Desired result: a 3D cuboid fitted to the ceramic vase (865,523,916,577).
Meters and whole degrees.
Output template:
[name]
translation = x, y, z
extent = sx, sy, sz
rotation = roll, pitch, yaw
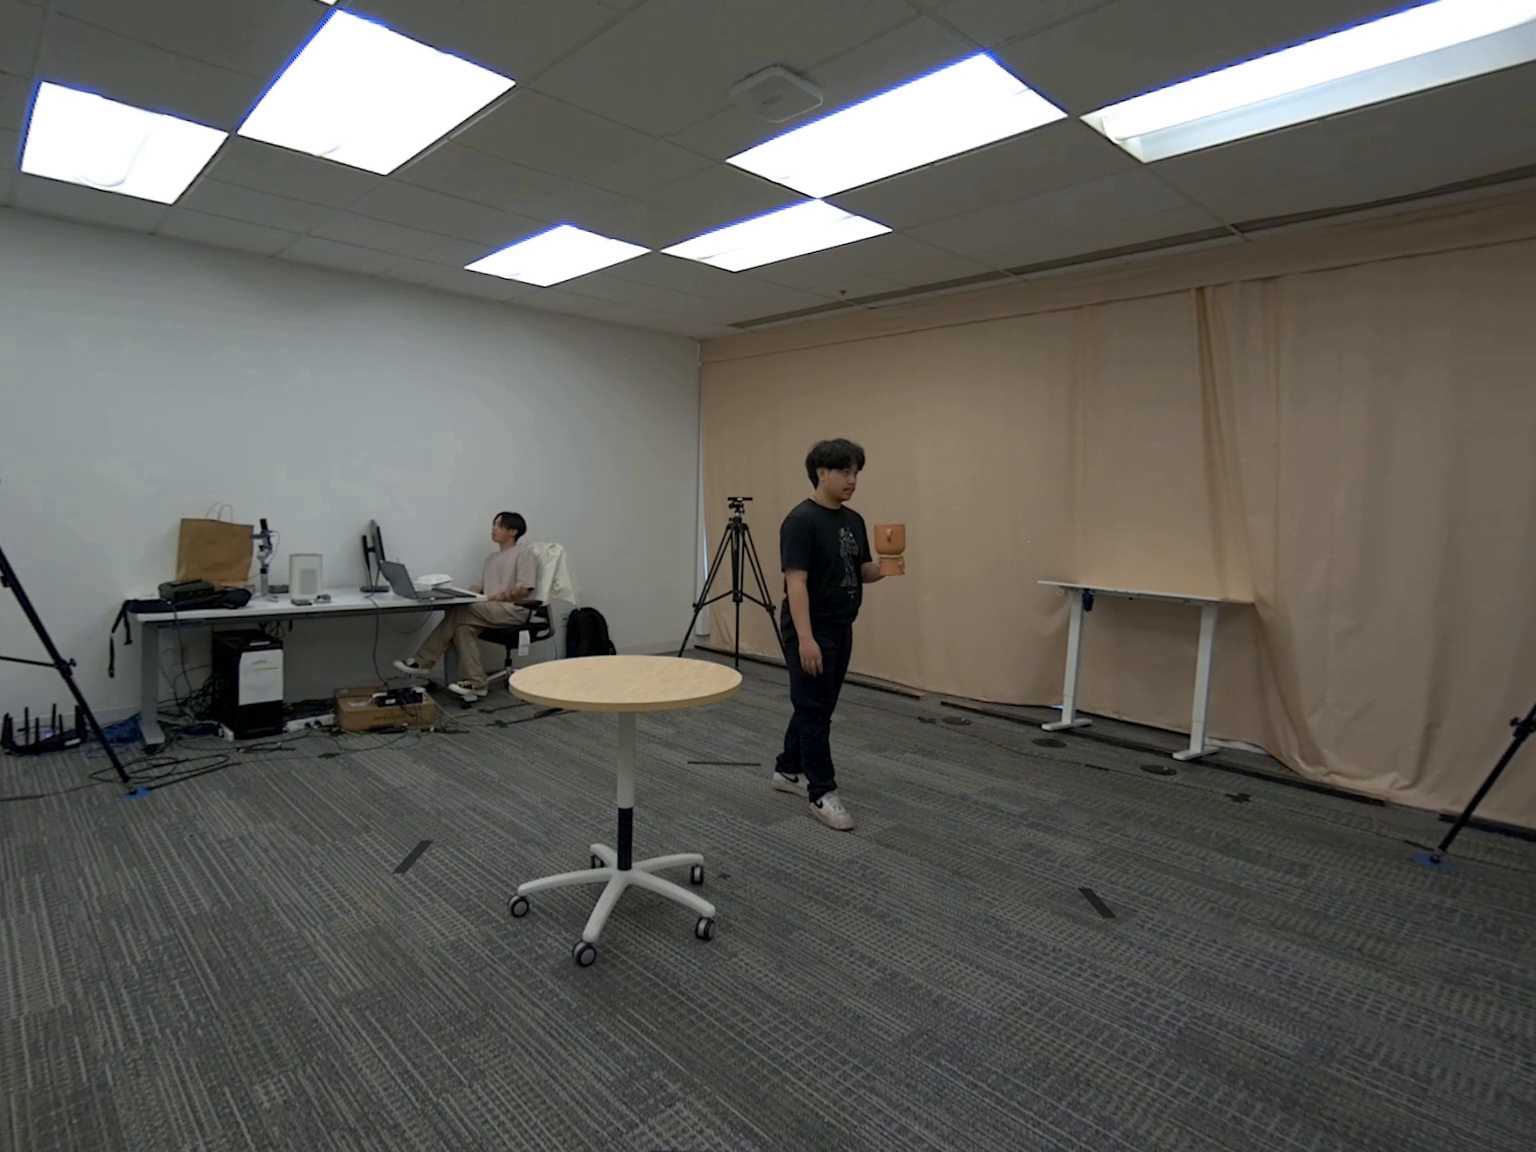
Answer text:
[ceramic vase]
translation = 0.524, -0.114, 3.625
extent = 0.155, 0.219, 0.138
rotation = -2, 1, -37
